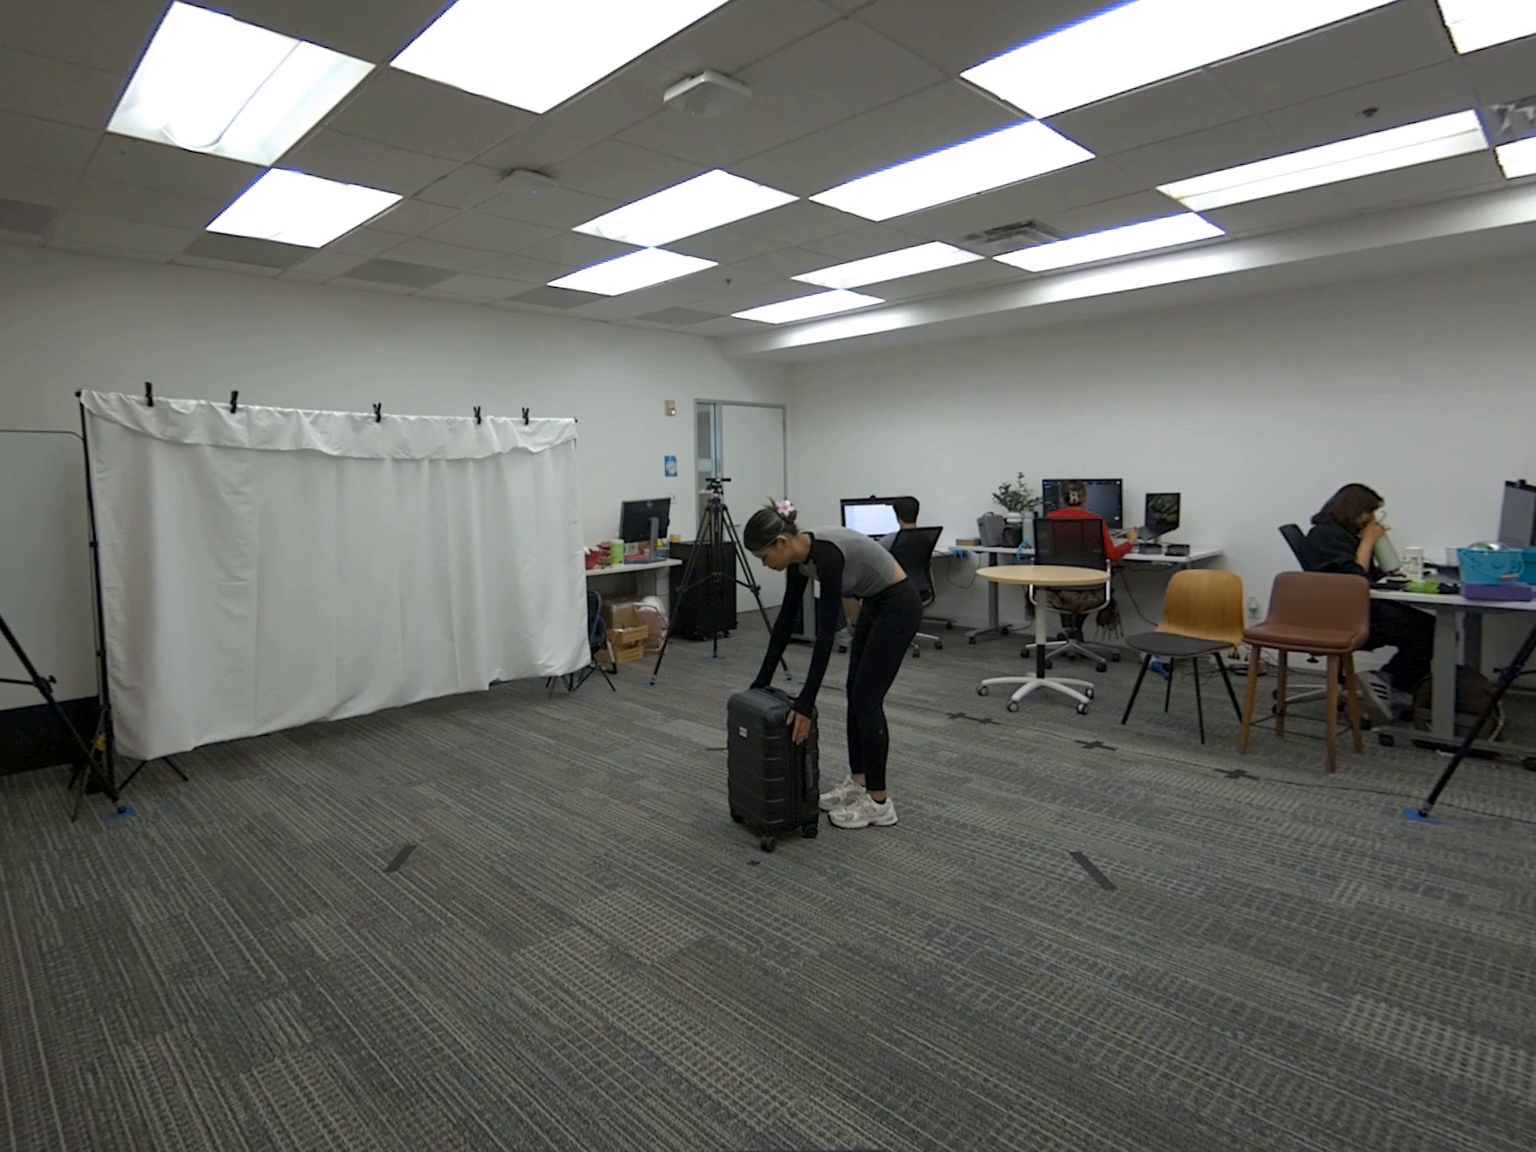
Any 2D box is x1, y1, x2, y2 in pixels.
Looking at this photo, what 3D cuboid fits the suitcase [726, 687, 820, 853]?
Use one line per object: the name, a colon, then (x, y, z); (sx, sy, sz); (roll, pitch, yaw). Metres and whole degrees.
suitcase: (0.021, 0.731, 3.386); (0.243, 0.547, 0.385); (-3, 5, -29)
